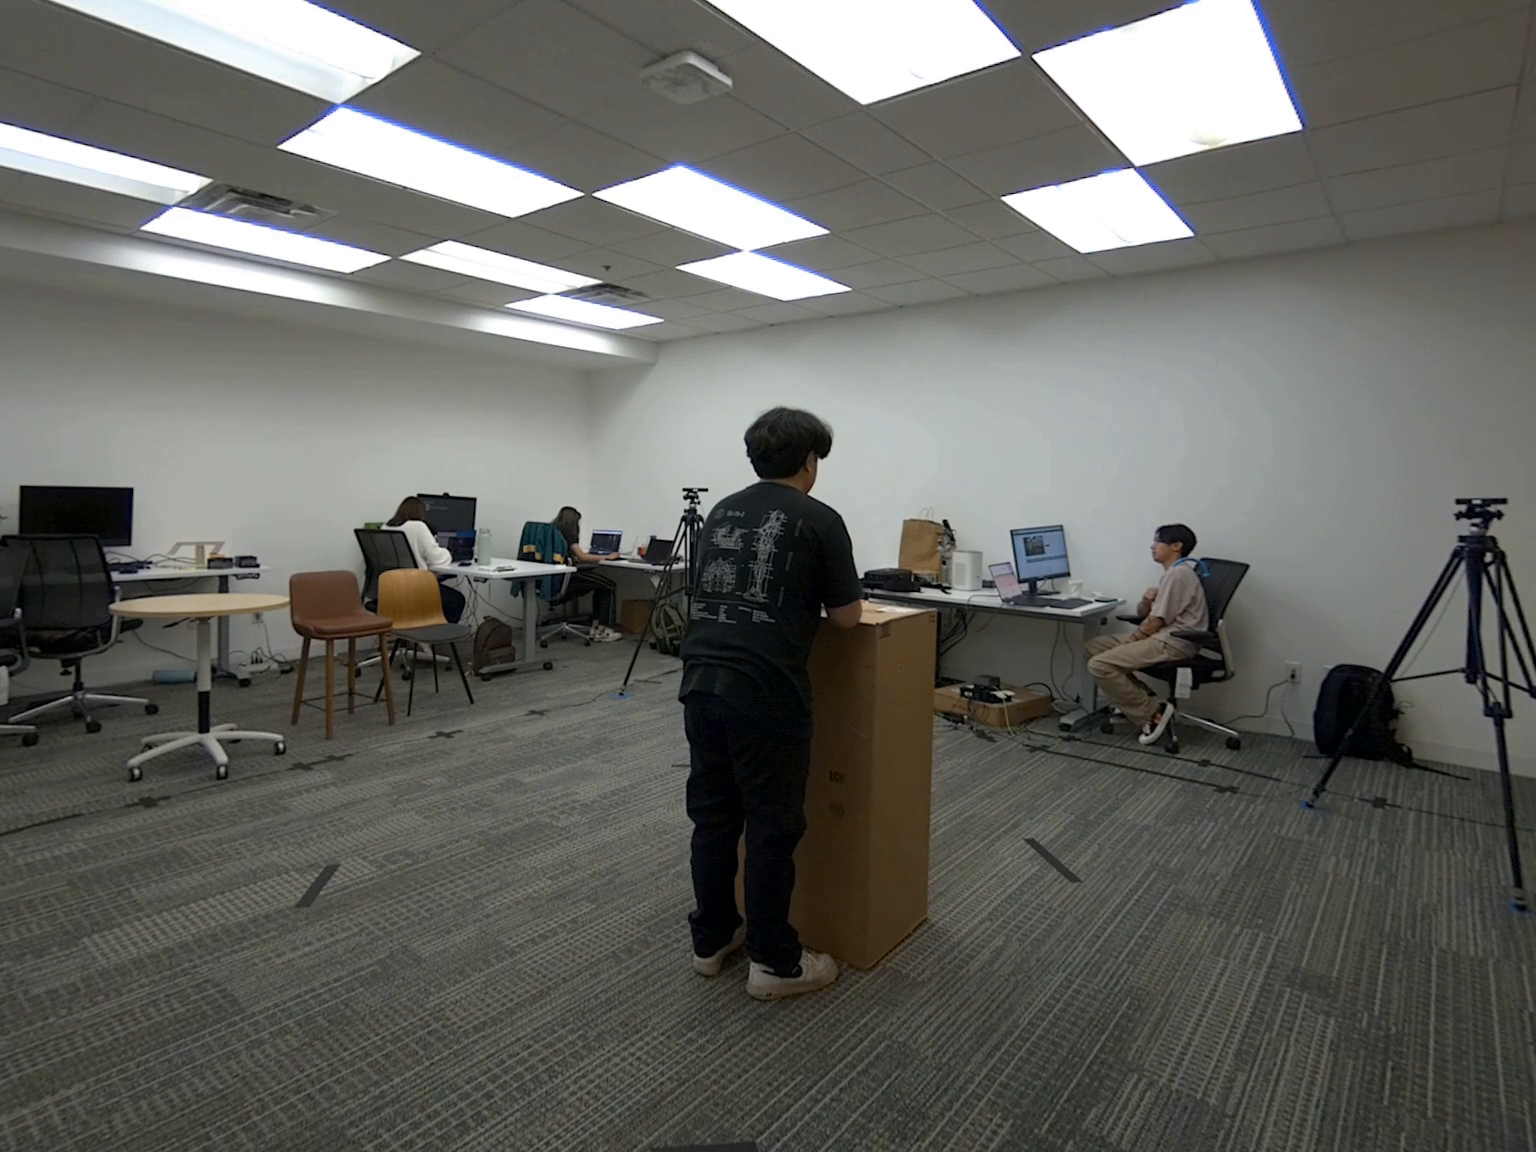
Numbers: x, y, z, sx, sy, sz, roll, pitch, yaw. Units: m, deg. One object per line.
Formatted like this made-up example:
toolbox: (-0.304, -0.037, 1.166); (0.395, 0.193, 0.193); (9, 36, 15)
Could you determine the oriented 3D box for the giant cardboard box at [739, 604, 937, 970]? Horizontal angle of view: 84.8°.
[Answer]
giant cardboard box: (0.179, 0.599, 2.784); (0.603, 1.025, 0.433); (4, 3, 37)
